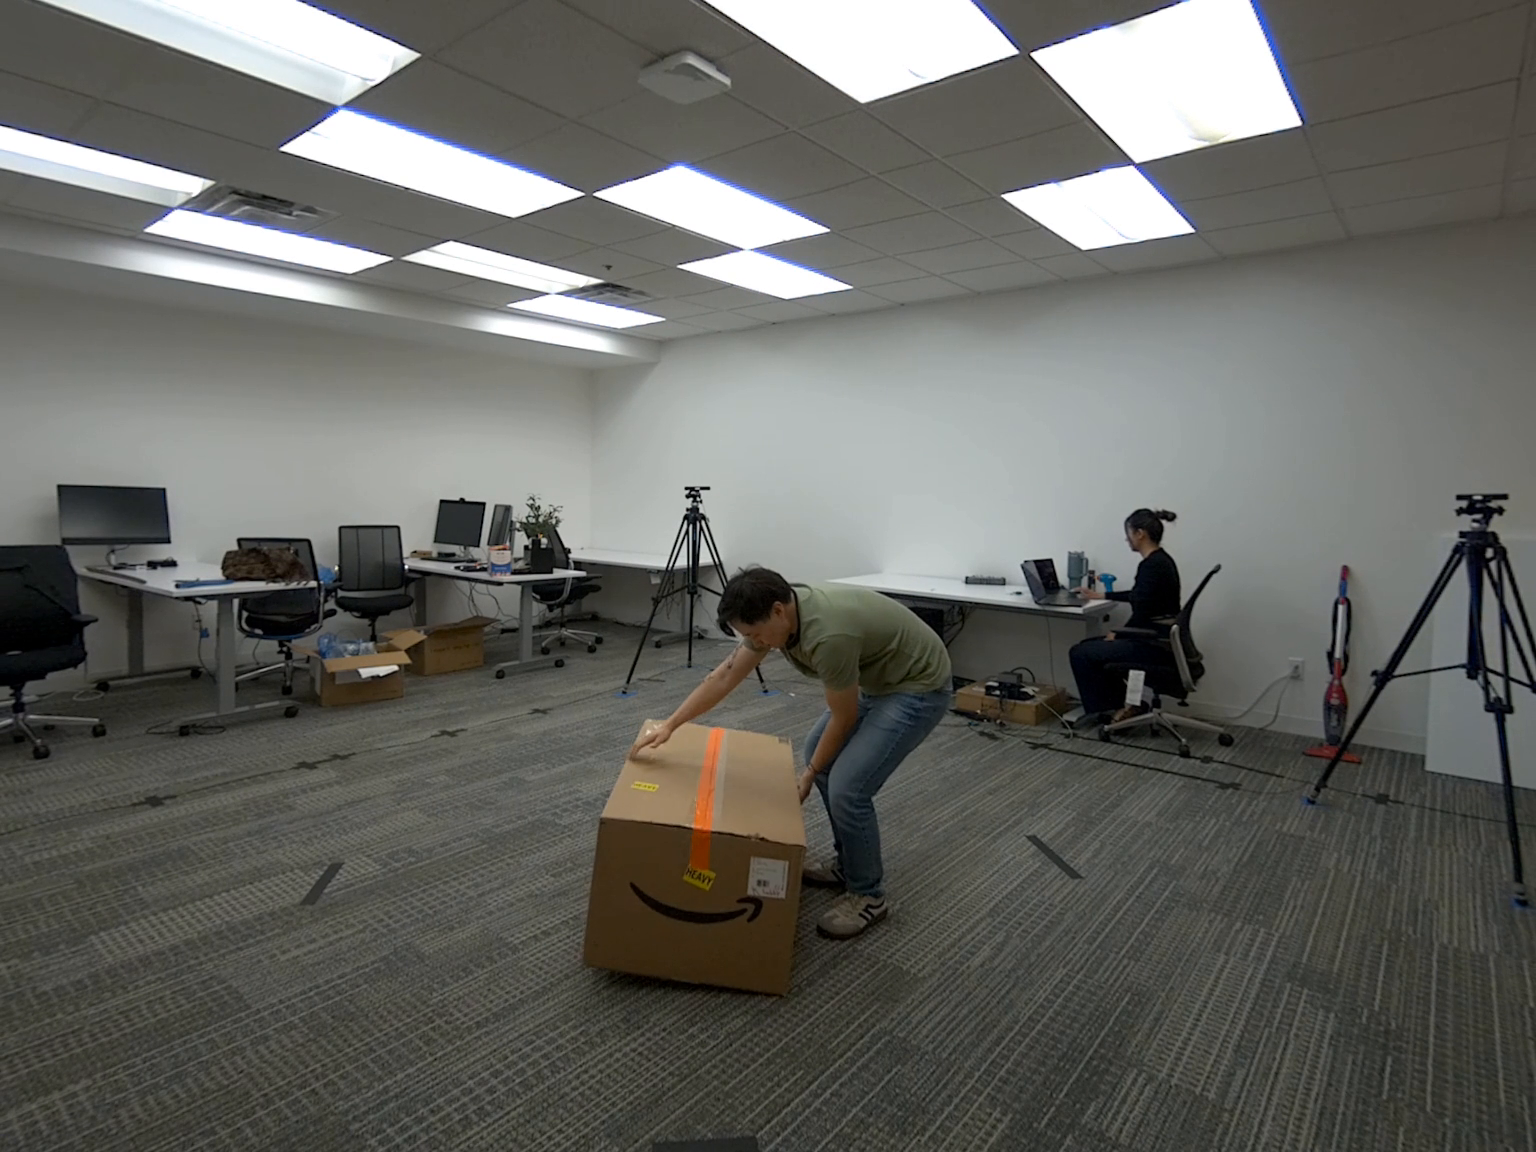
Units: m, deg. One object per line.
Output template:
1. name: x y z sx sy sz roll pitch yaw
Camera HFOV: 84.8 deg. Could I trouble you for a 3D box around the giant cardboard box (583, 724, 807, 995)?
1. giant cardboard box: -0.223 0.838 2.821 0.578 0.424 1.030 6 5 -1
